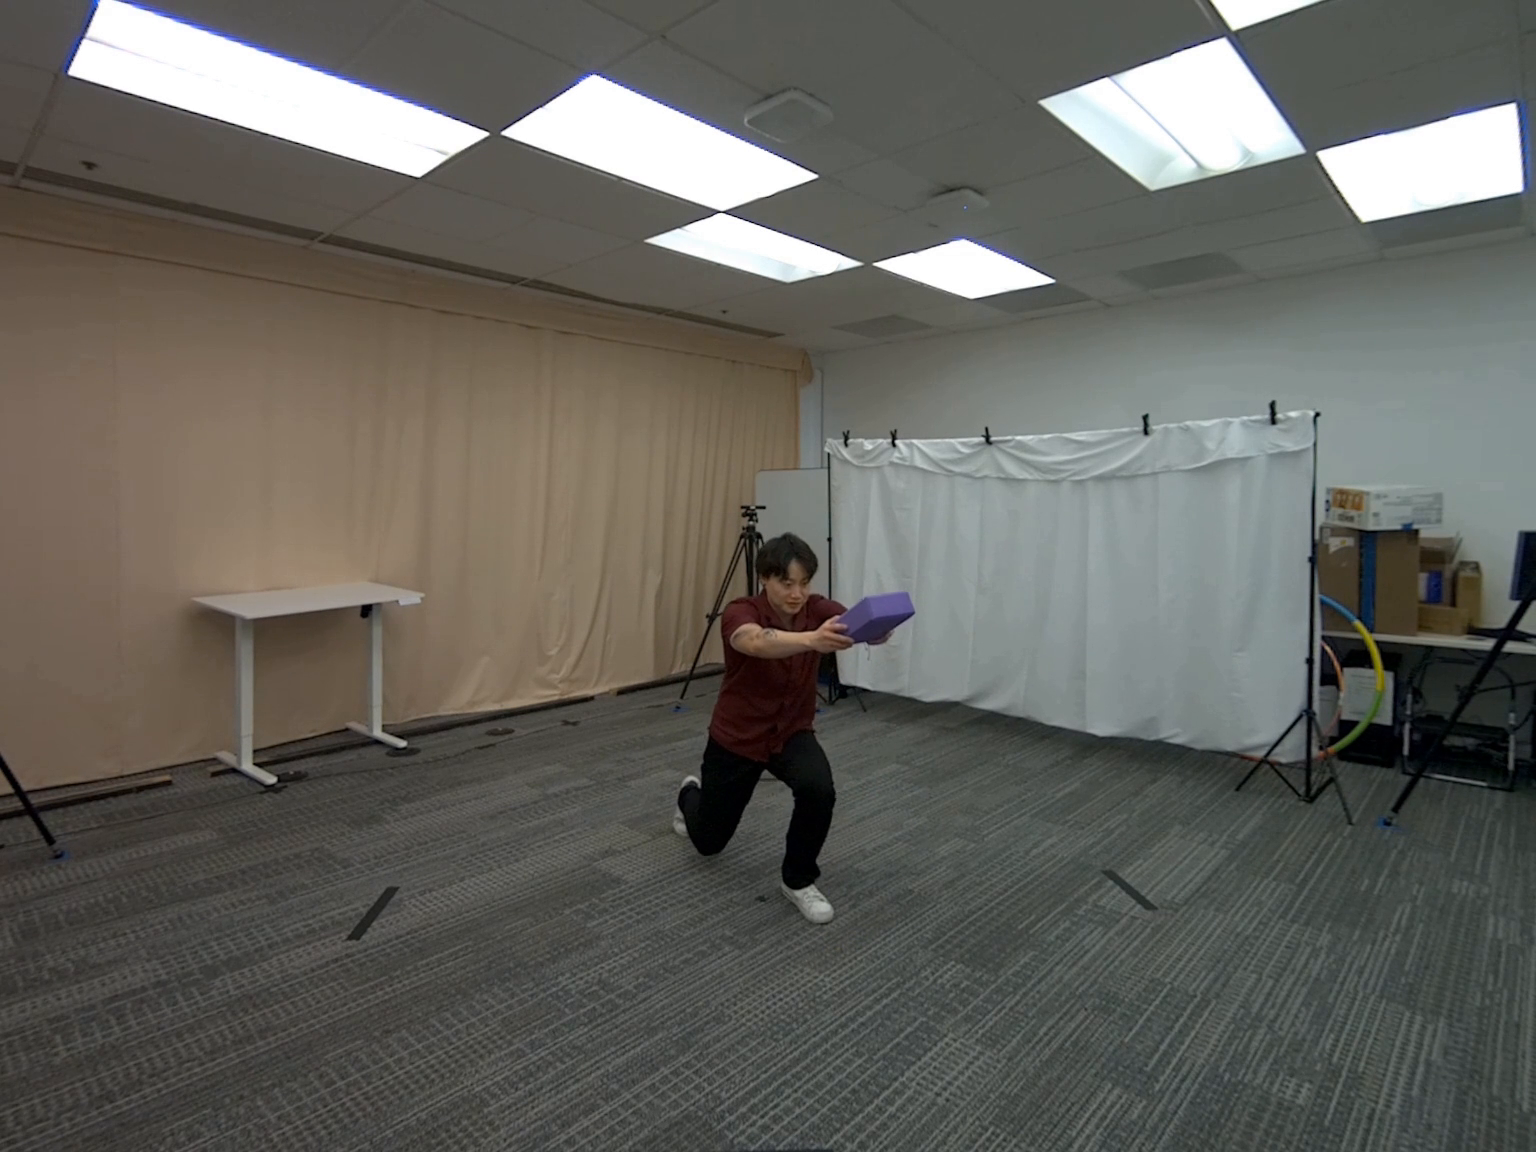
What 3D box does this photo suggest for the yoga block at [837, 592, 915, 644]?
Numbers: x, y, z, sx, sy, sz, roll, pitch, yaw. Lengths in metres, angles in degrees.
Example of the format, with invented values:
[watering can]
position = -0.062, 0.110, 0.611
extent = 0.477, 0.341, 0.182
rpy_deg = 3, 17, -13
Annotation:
[yoga block]
position = 0.292, 0.129, 2.429
extent = 0.146, 0.078, 0.230
rpy_deg = -5, -21, -25
